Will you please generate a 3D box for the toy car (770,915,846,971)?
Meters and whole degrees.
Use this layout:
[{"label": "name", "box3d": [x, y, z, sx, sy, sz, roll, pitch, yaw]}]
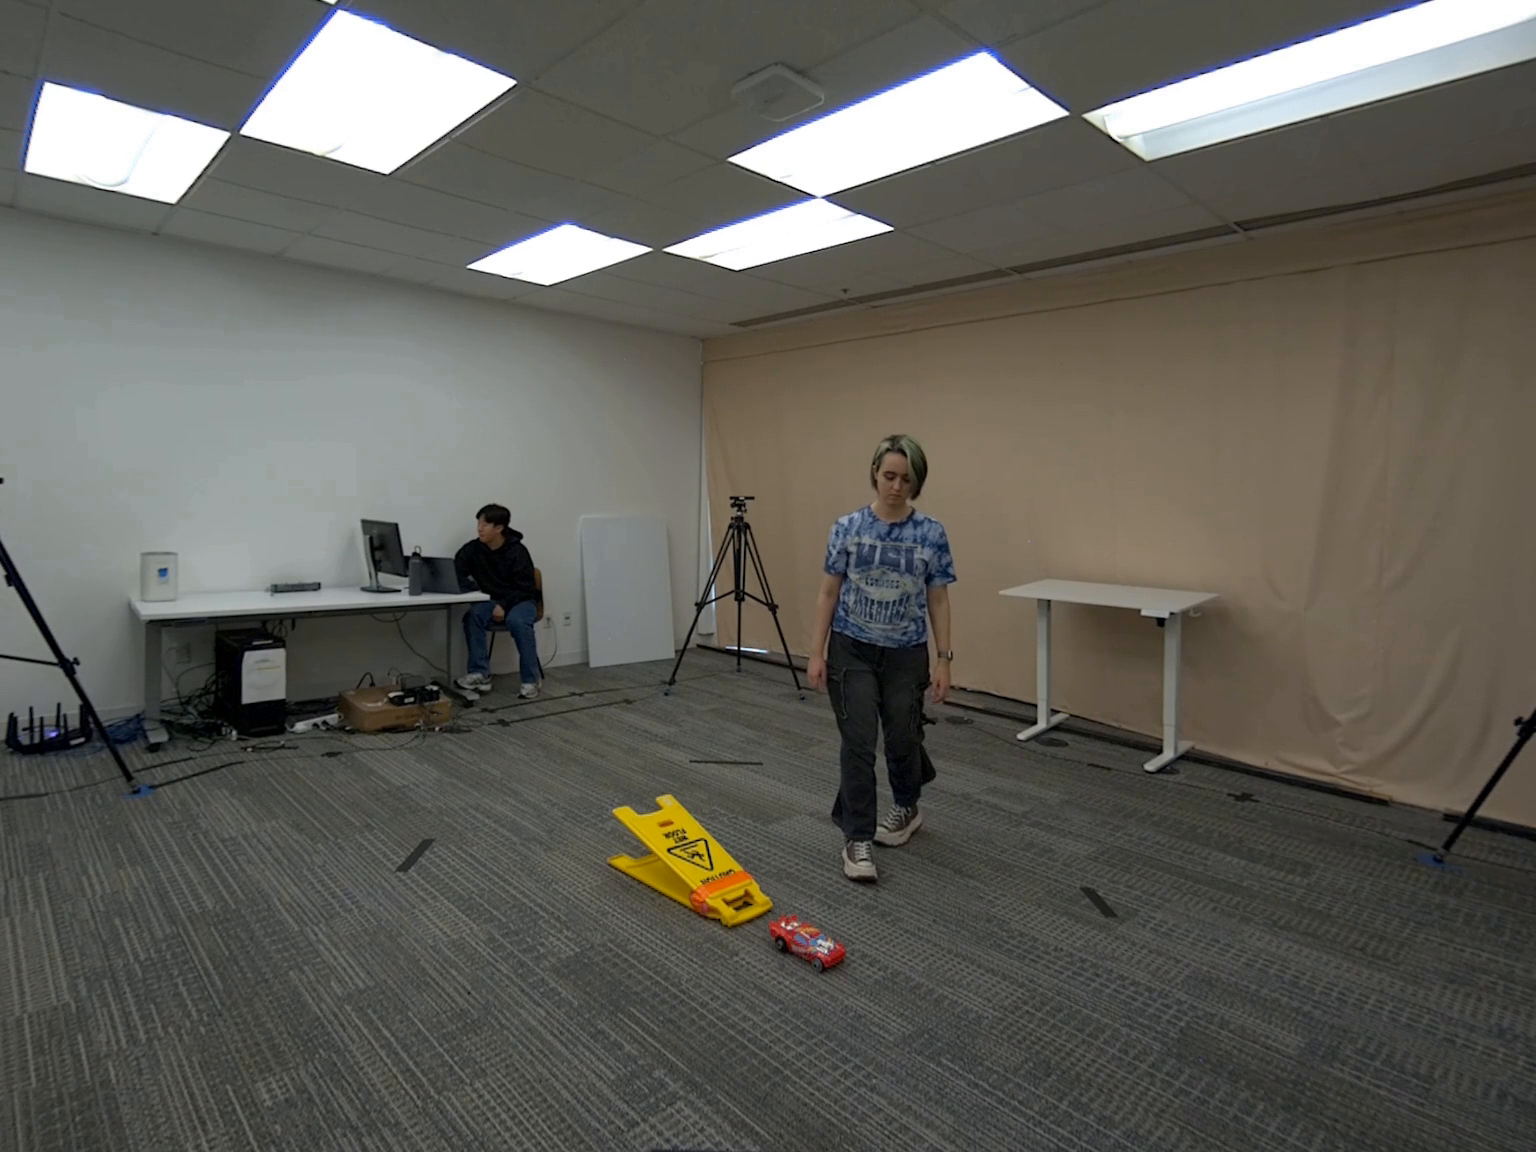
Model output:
[{"label": "toy car", "box3d": [0.112, 1.126, 2.583, 0.127, 0.082, 0.262, -3, 18, -45]}]
